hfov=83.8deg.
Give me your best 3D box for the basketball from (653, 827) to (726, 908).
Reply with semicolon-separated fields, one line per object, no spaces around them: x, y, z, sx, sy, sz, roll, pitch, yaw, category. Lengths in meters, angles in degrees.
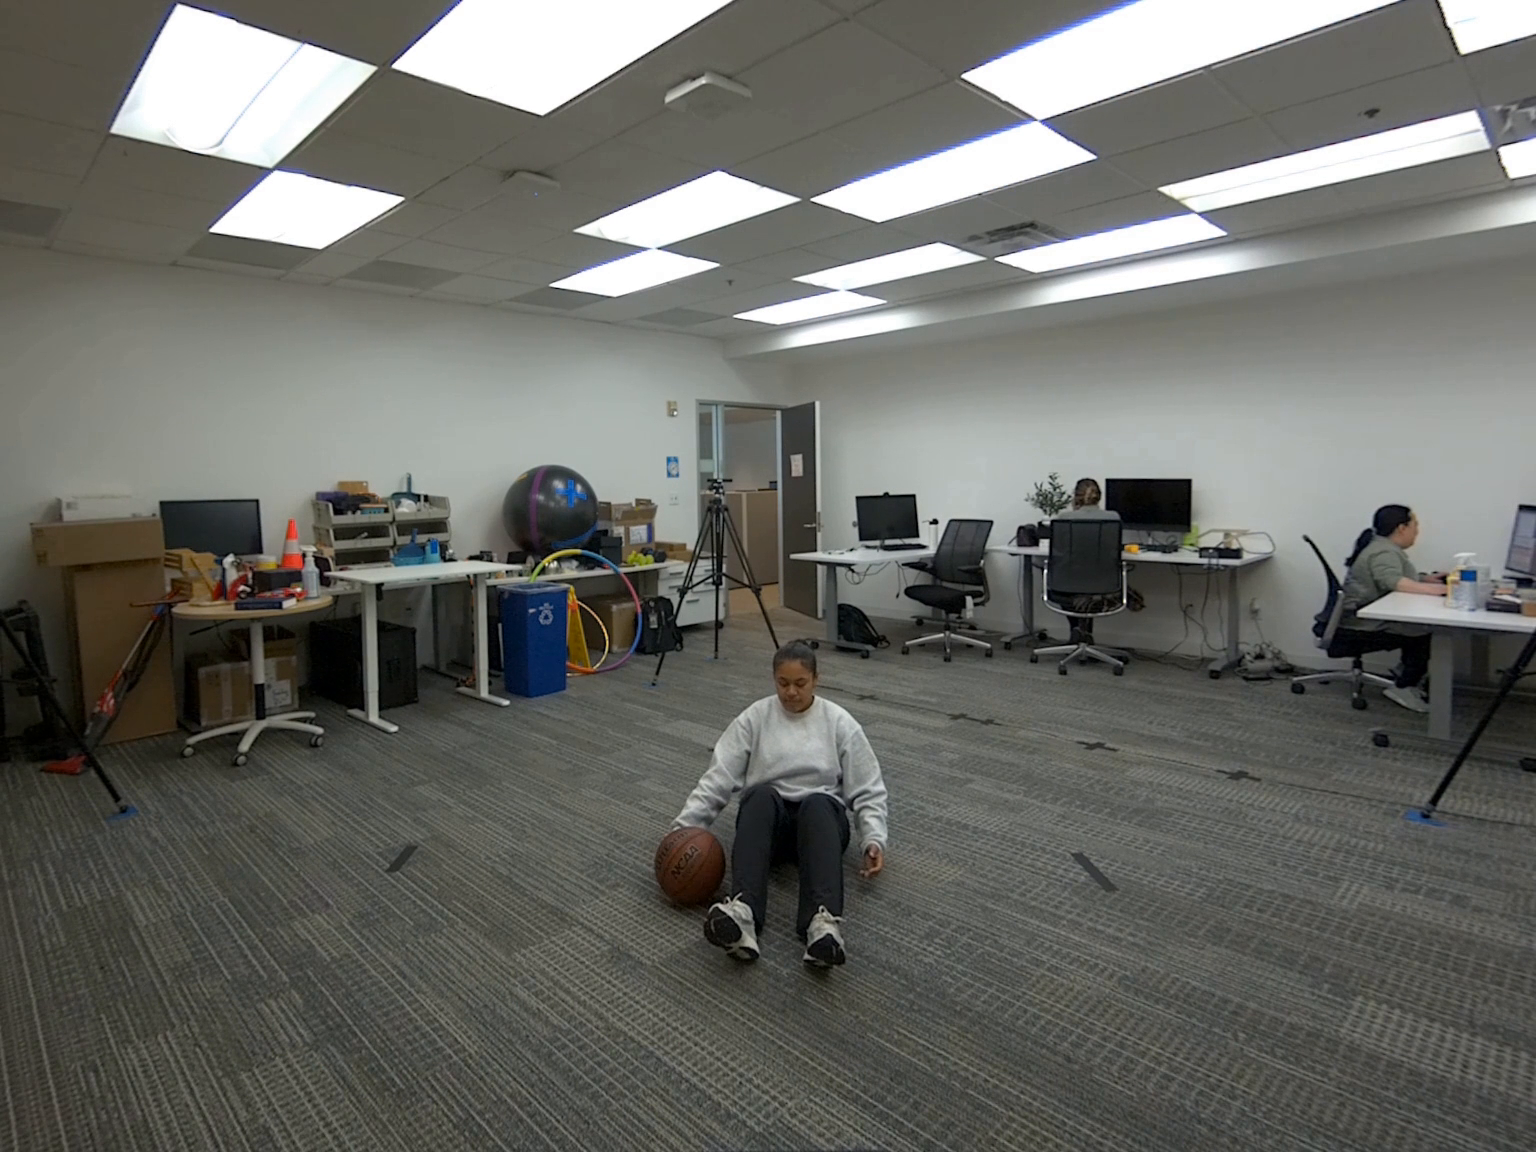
-0.252;0.965;2.844;0.236;0.235;0.237;-1;5;-2;basketball
